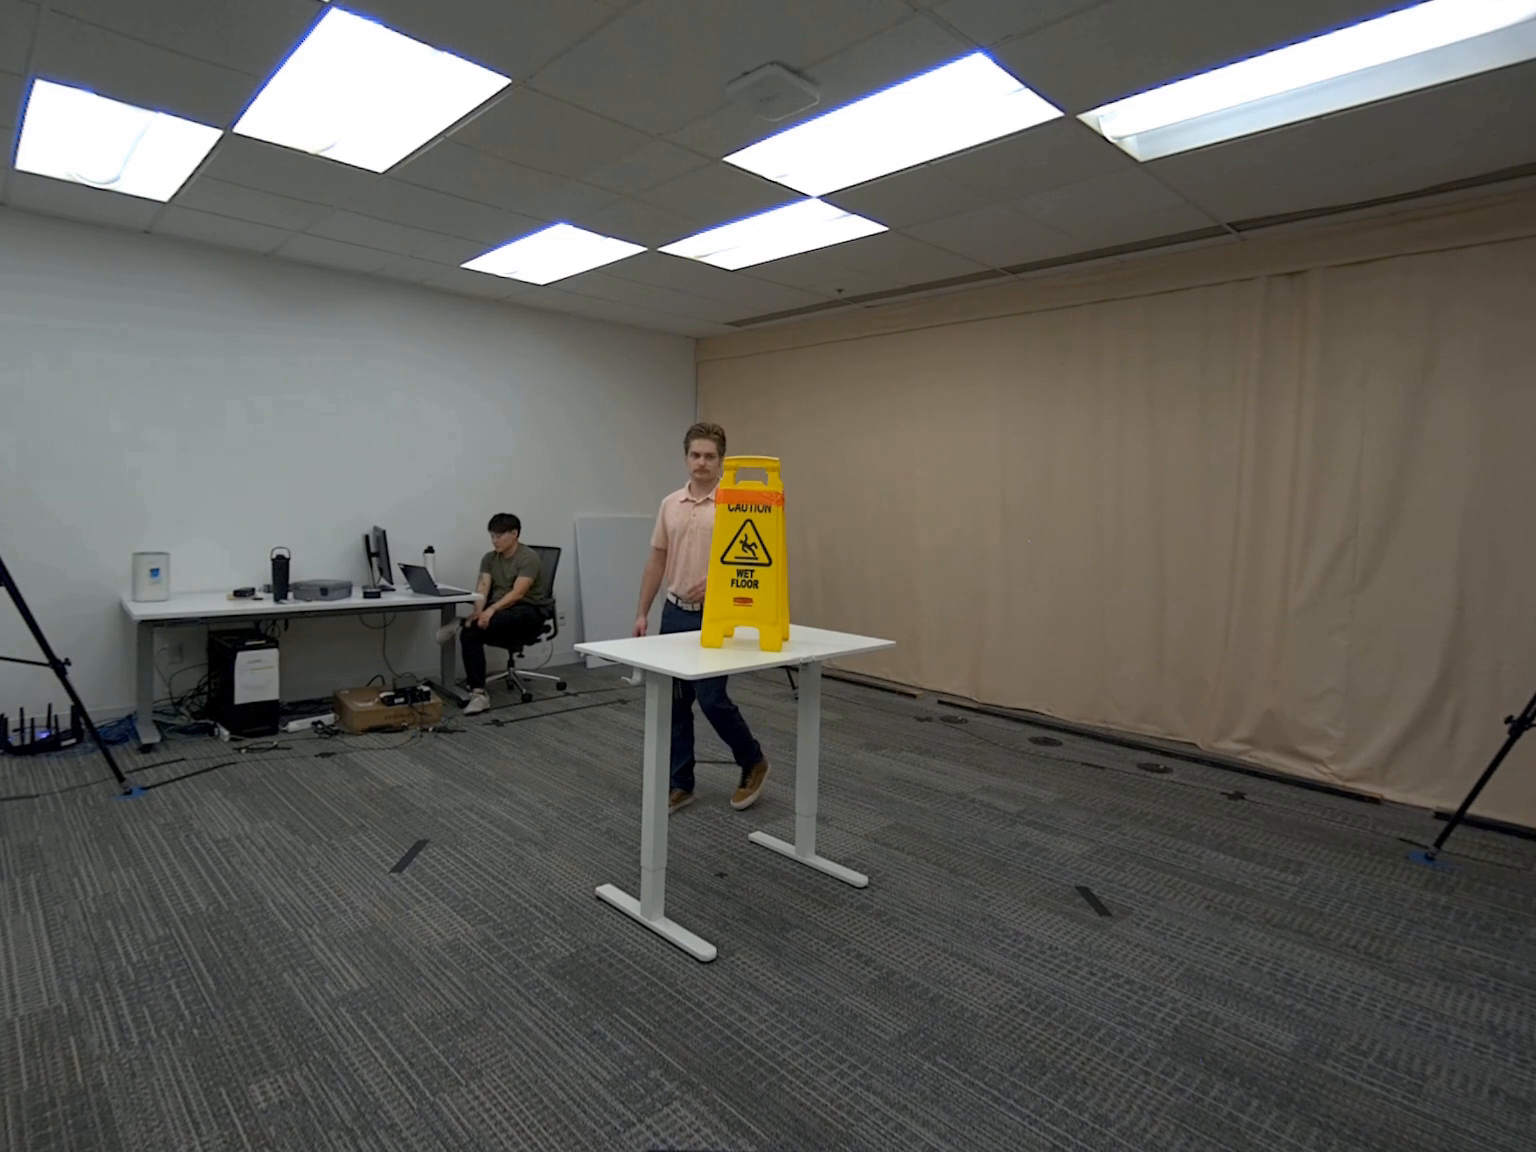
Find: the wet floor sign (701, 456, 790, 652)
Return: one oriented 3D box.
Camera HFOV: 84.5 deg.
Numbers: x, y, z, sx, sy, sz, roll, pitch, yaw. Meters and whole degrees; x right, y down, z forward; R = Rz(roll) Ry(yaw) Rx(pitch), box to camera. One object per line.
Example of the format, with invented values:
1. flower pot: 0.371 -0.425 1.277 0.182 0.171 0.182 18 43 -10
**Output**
1. wet floor sign: -0.072 -0.084 2.921 0.284 0.645 0.288 3 3 8
